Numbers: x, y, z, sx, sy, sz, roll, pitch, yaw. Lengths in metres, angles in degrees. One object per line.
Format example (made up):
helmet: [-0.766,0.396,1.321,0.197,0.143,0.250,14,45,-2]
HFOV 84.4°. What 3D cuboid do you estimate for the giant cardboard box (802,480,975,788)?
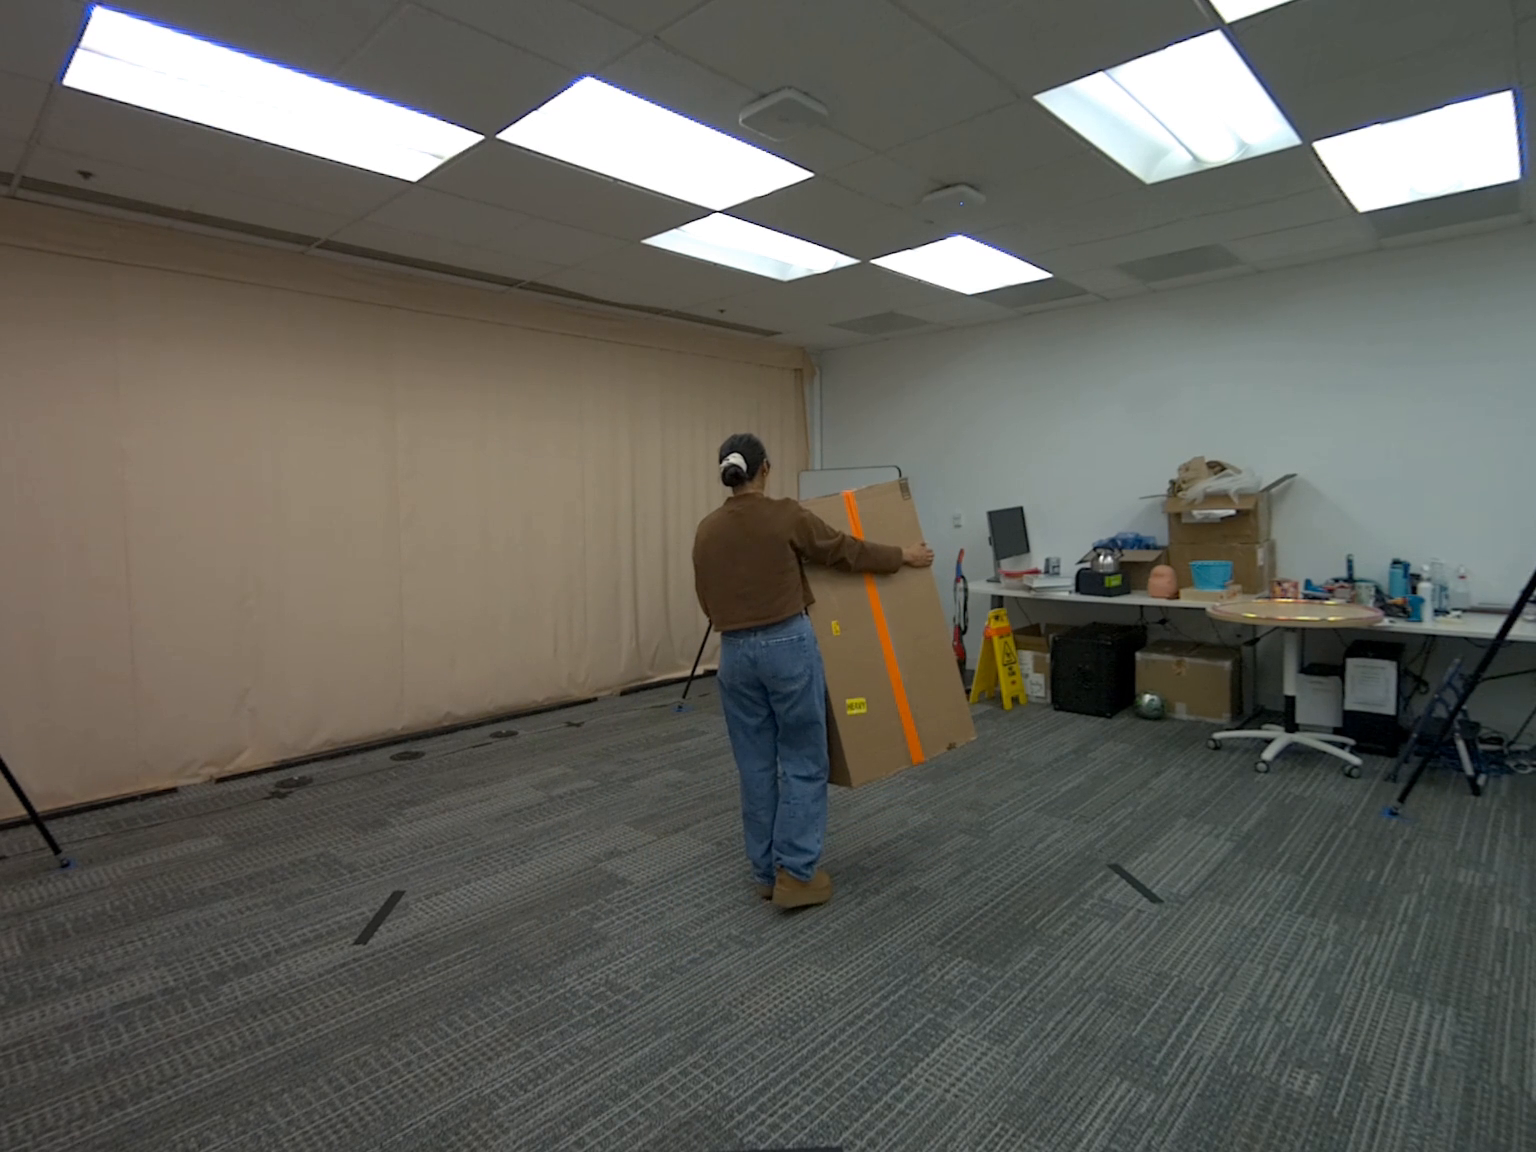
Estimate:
giant cardboard box: [0.328,0.213,3.261,0.566,1.028,0.434,-13,-3,-25]
